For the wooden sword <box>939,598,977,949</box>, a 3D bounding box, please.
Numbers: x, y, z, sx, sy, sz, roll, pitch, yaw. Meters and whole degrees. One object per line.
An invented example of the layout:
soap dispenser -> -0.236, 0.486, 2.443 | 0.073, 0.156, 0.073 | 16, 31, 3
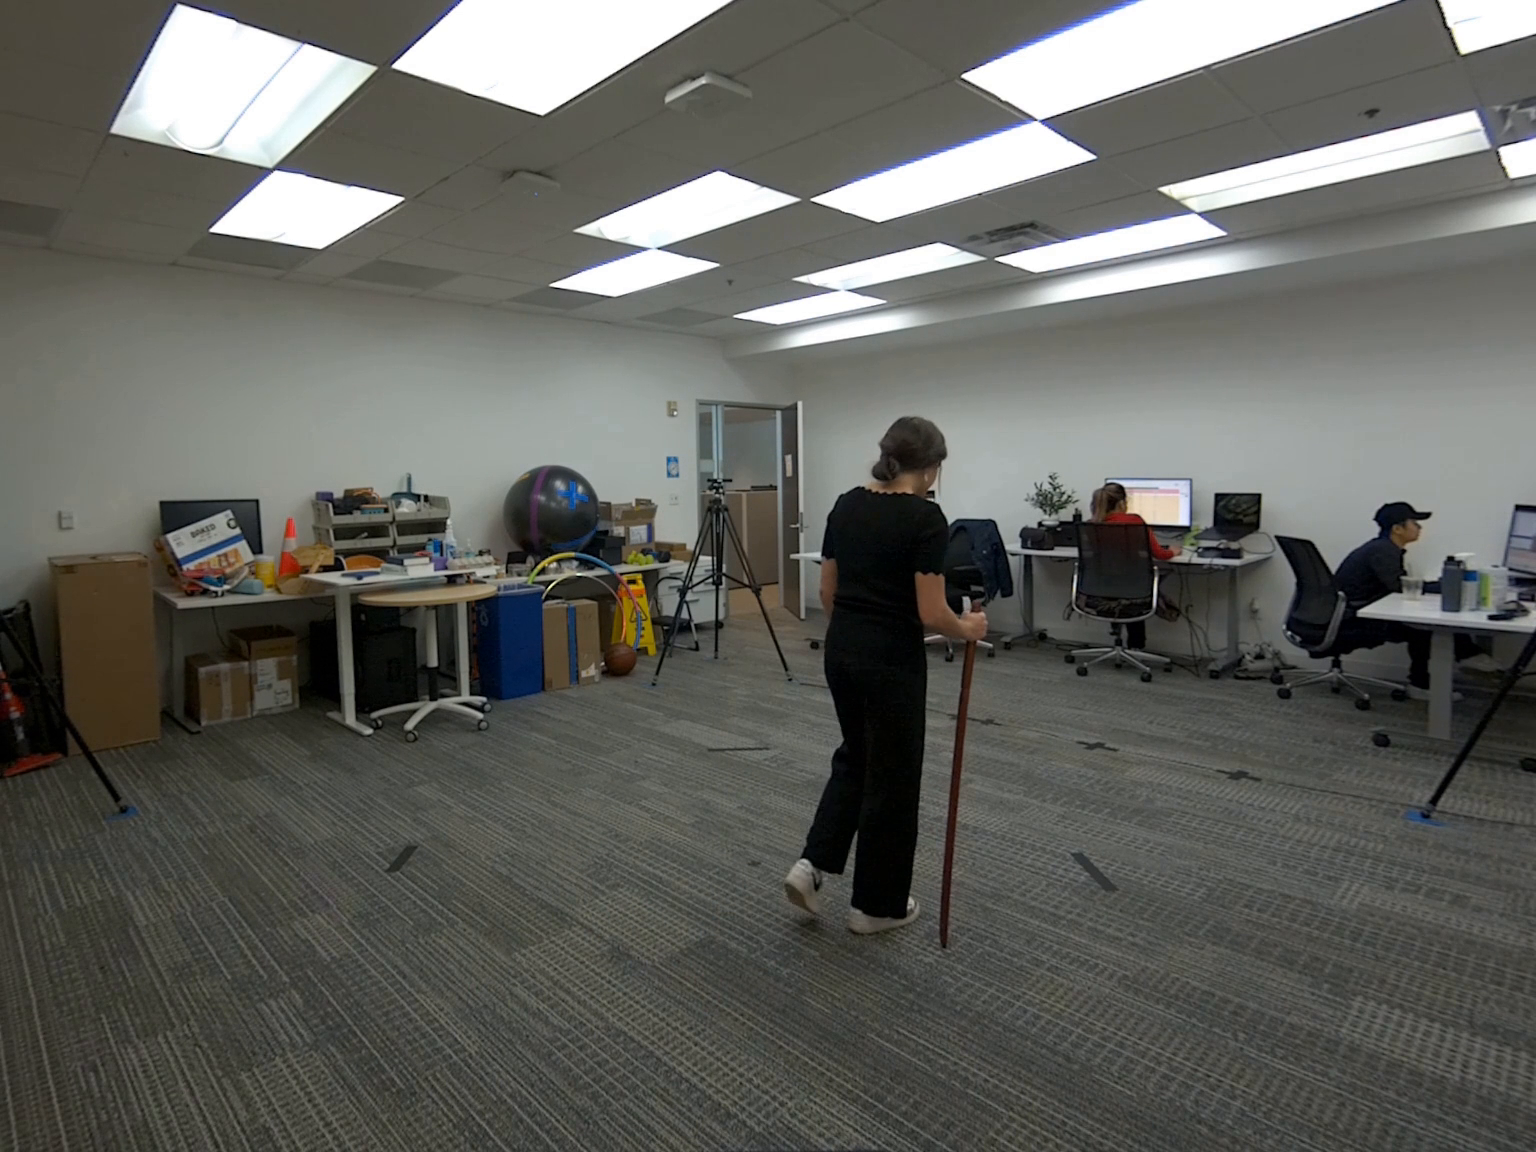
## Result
wooden sword -> 0.573, 0.604, 2.575 | 0.050, 1.029, 0.024 | 10, -6, -19
